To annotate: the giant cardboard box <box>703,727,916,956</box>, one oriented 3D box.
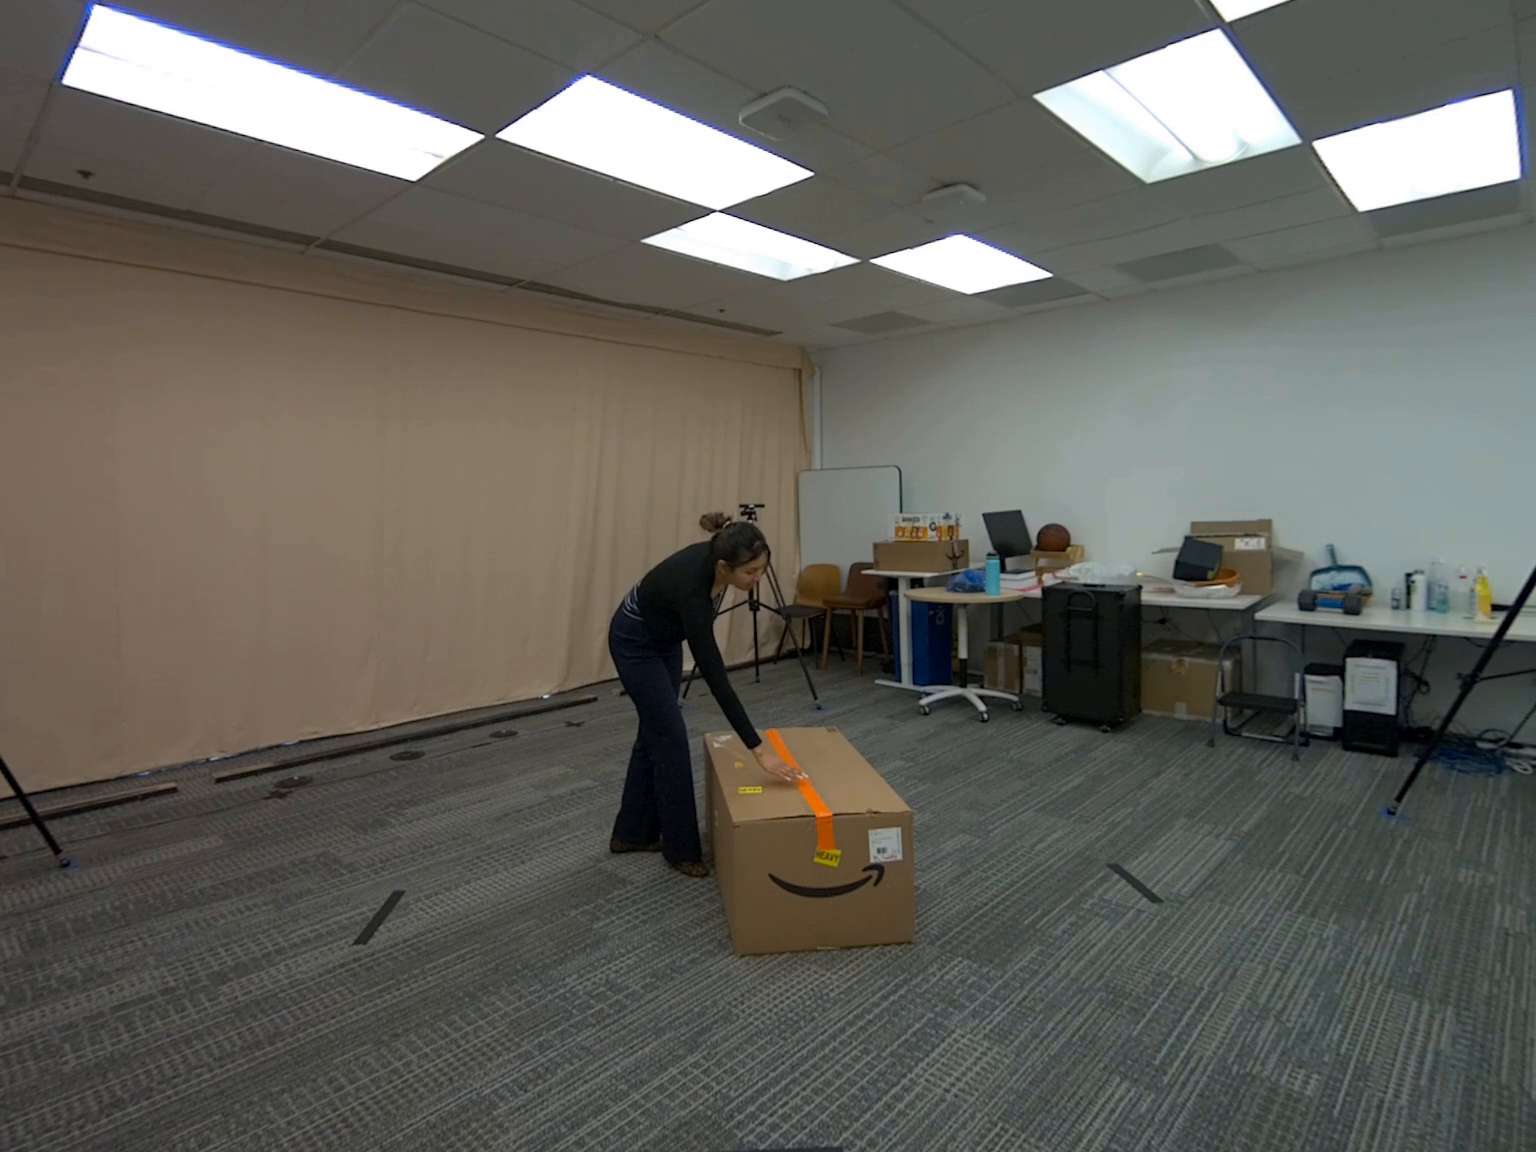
[{"bbox_3d":[0.101,0.907,3.115,0.573,0.425,1.037,-2,5,-9],"label":"giant cardboard box"}]
